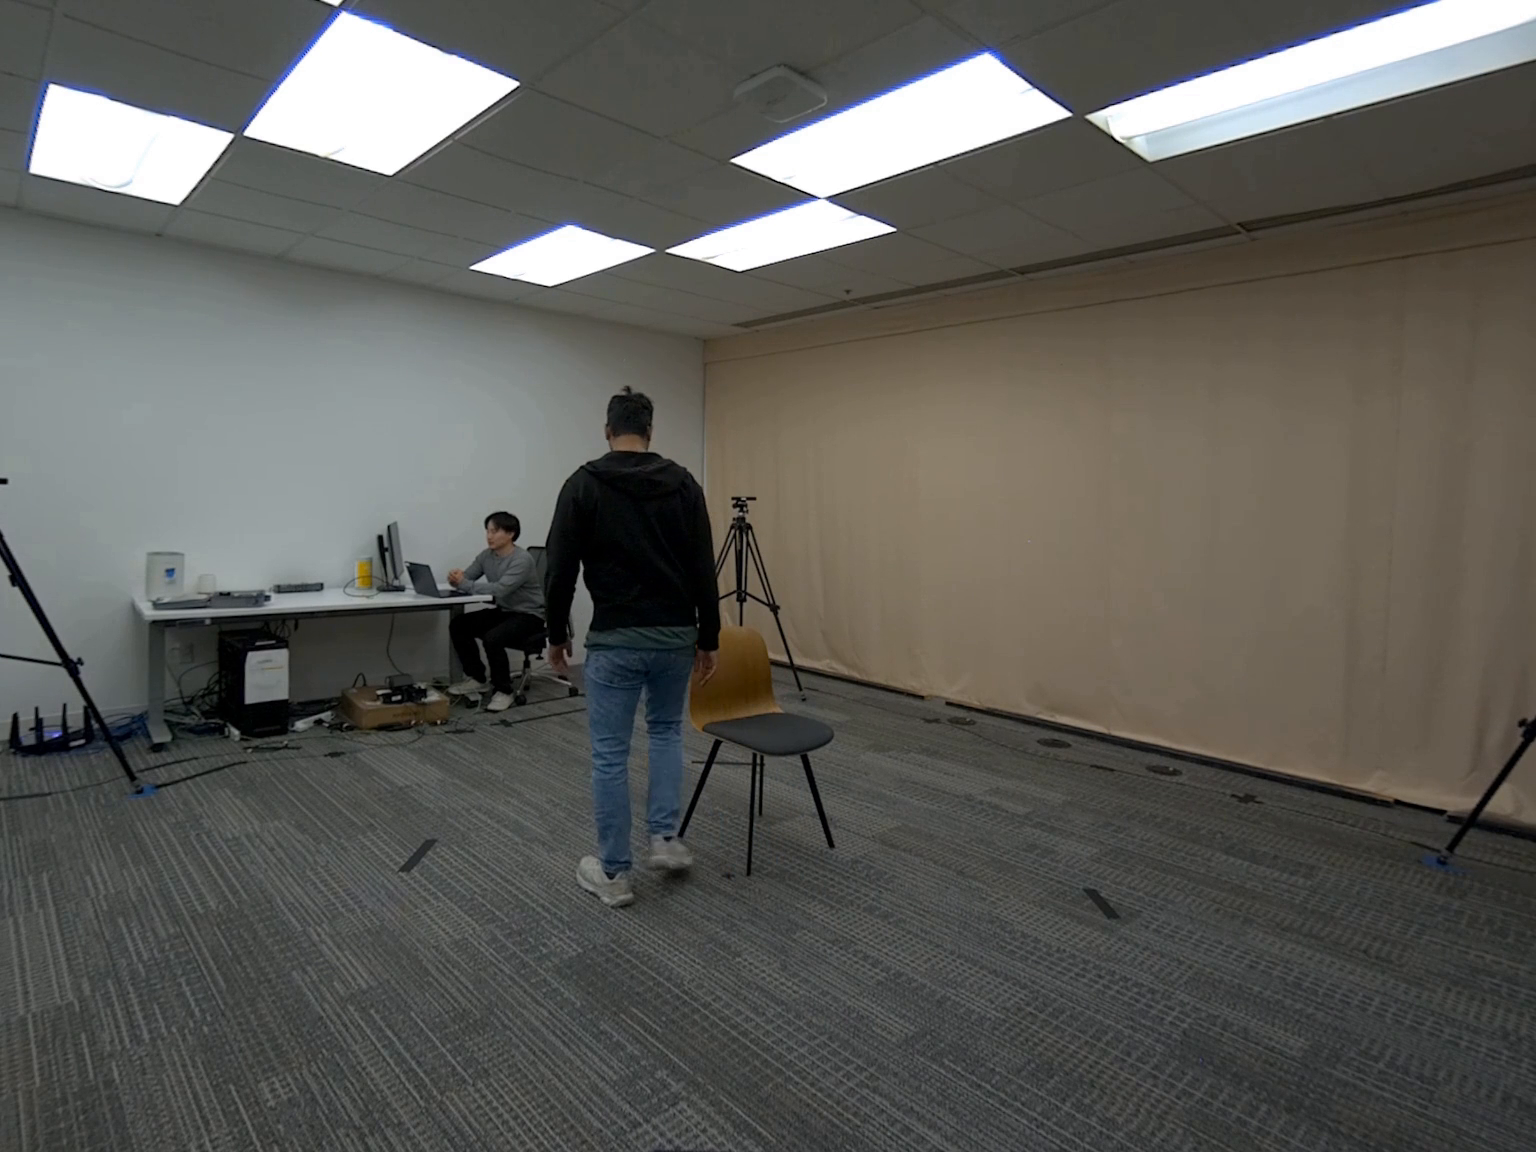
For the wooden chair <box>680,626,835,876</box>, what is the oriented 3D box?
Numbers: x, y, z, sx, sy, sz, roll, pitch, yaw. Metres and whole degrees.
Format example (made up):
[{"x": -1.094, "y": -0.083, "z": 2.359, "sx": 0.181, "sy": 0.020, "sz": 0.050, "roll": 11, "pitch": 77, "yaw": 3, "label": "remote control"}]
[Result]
[{"x": -0.042, "y": 0.659, "z": 3.379, "sx": 0.467, "sy": 0.878, "sz": 0.535, "roll": -1, "pitch": 0, "yaw": -40, "label": "wooden chair"}]
